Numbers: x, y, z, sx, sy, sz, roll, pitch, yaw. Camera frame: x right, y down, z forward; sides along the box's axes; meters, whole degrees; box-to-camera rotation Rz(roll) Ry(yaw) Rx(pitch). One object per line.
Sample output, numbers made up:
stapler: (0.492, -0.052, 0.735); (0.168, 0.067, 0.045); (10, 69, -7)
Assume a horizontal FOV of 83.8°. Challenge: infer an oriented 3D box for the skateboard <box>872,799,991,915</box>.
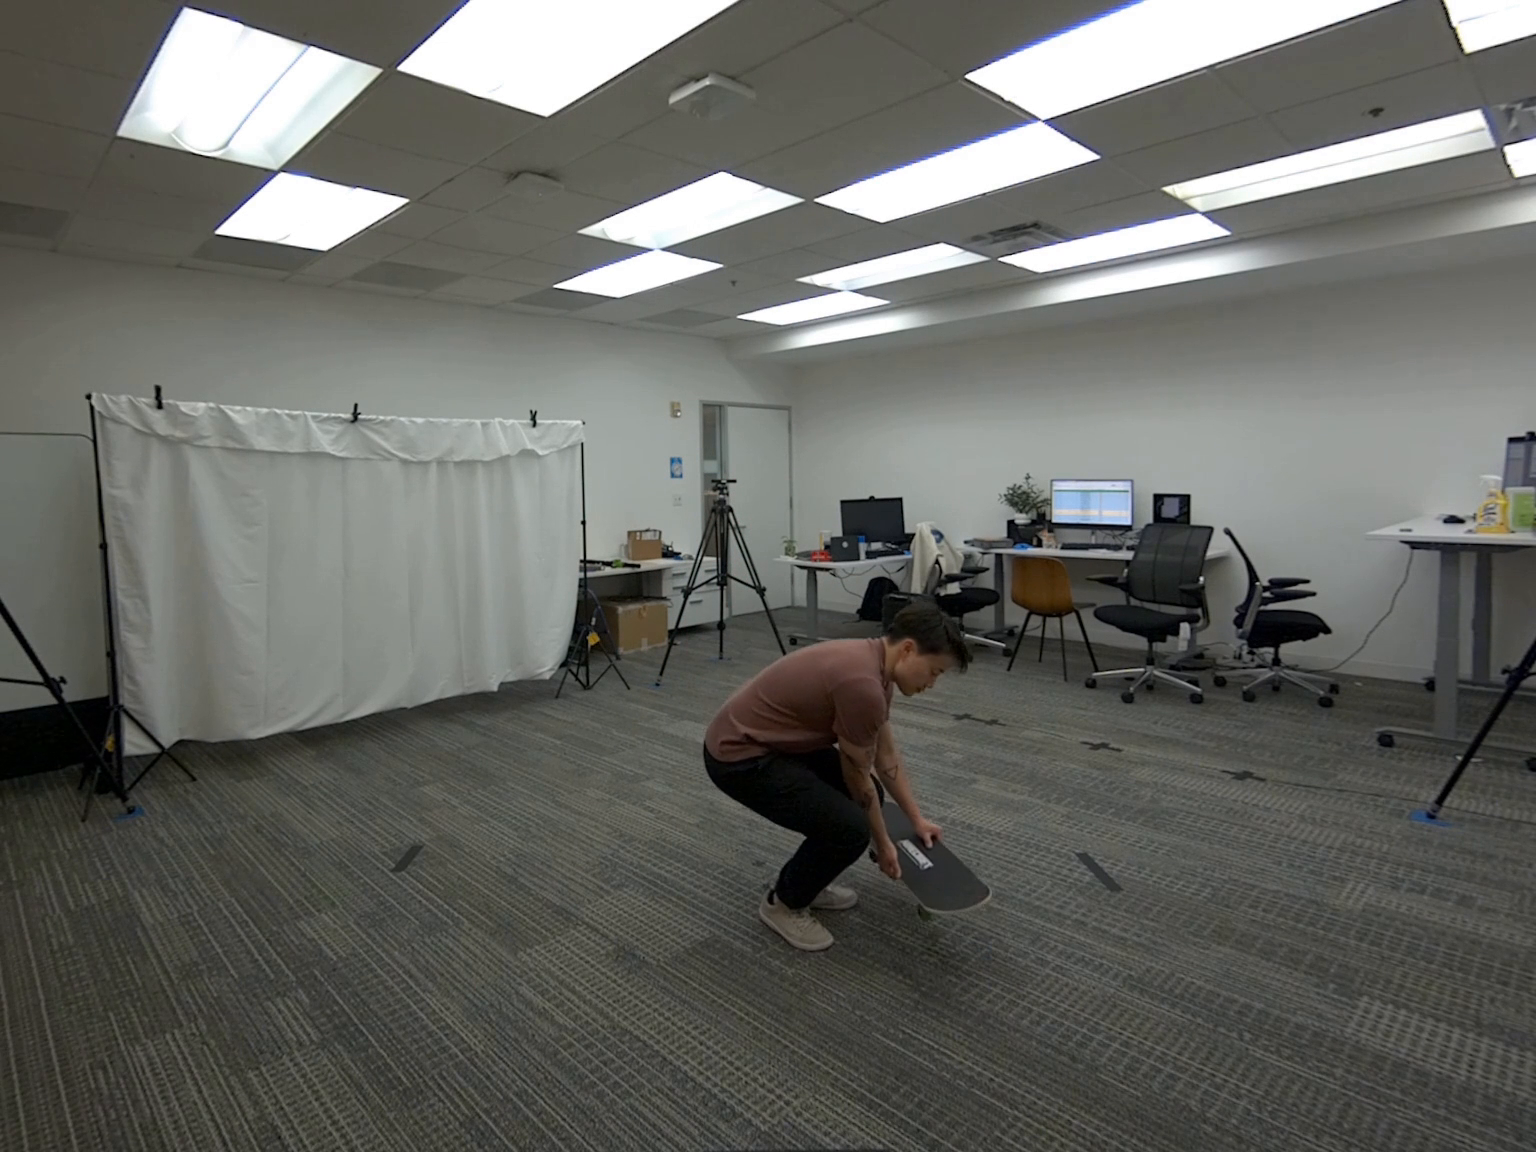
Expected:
skateboard: (0.465, 0.893, 2.676); (0.192, 0.109, 0.797); (-17, 9, -11)
